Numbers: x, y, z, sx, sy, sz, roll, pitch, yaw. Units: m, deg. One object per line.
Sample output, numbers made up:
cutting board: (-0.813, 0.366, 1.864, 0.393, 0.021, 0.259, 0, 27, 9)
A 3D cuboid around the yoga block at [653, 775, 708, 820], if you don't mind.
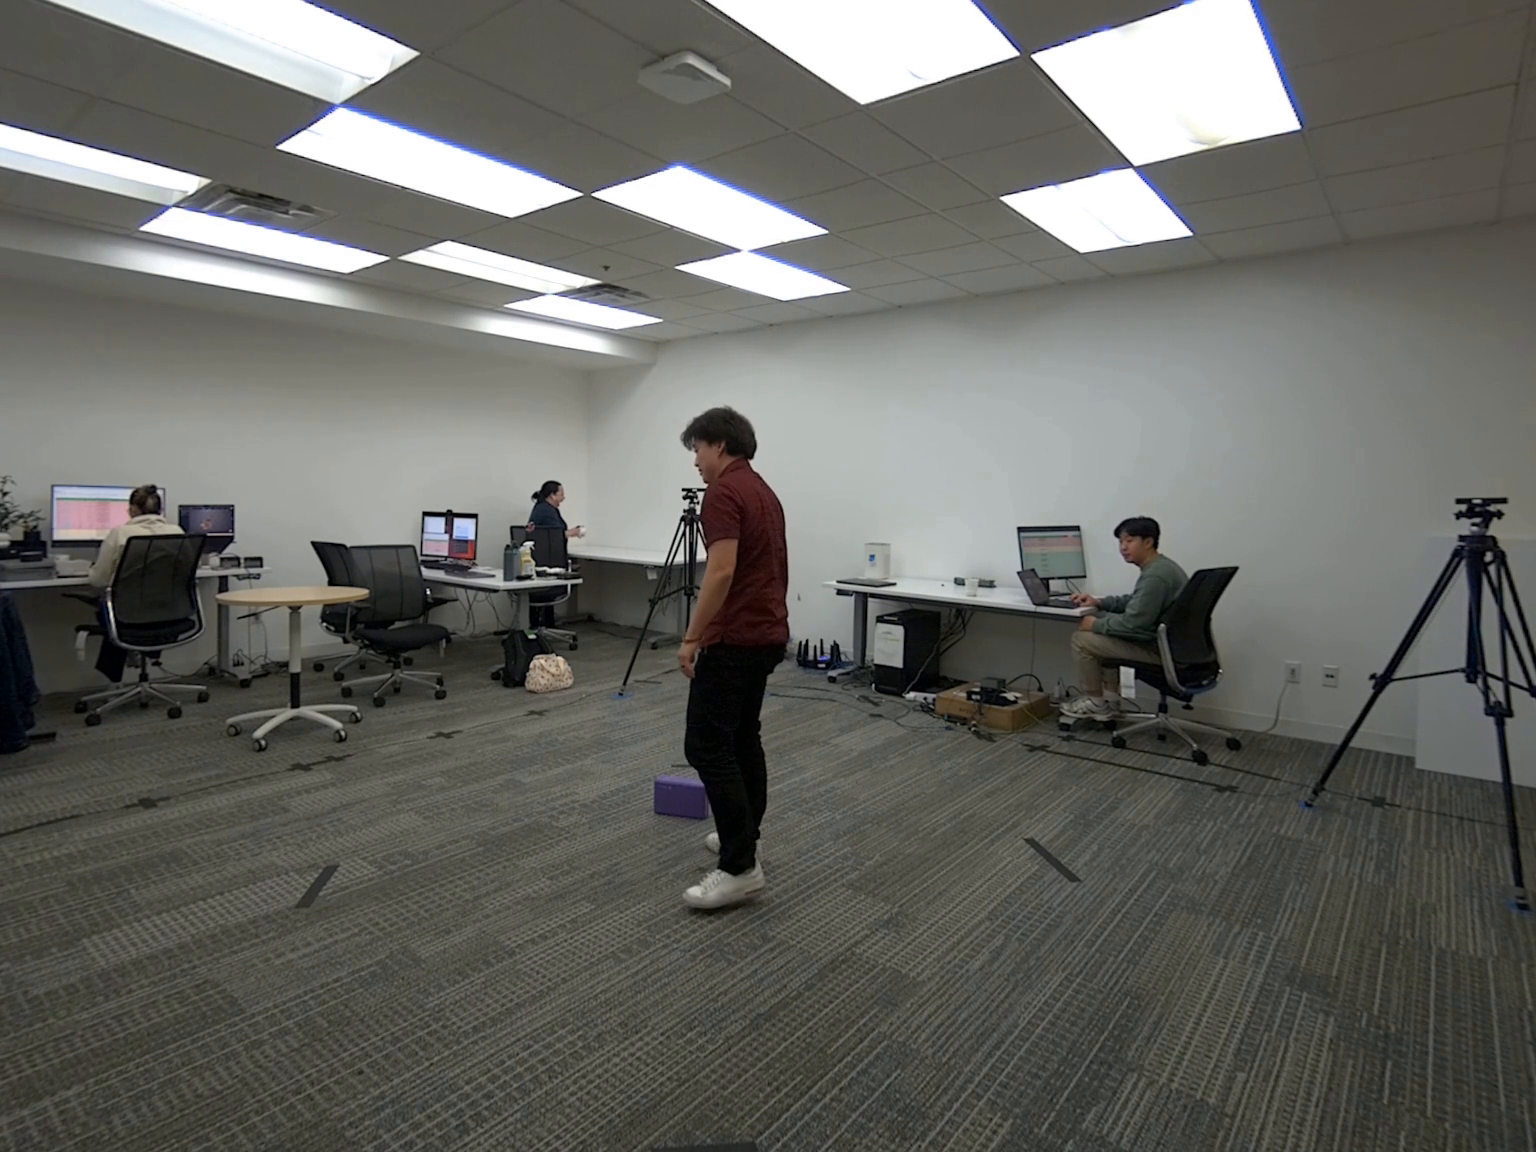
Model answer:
yoga block: (-0.383, 0.937, 3.632, 0.233, 0.148, 0.075, 3, 4, 15)
